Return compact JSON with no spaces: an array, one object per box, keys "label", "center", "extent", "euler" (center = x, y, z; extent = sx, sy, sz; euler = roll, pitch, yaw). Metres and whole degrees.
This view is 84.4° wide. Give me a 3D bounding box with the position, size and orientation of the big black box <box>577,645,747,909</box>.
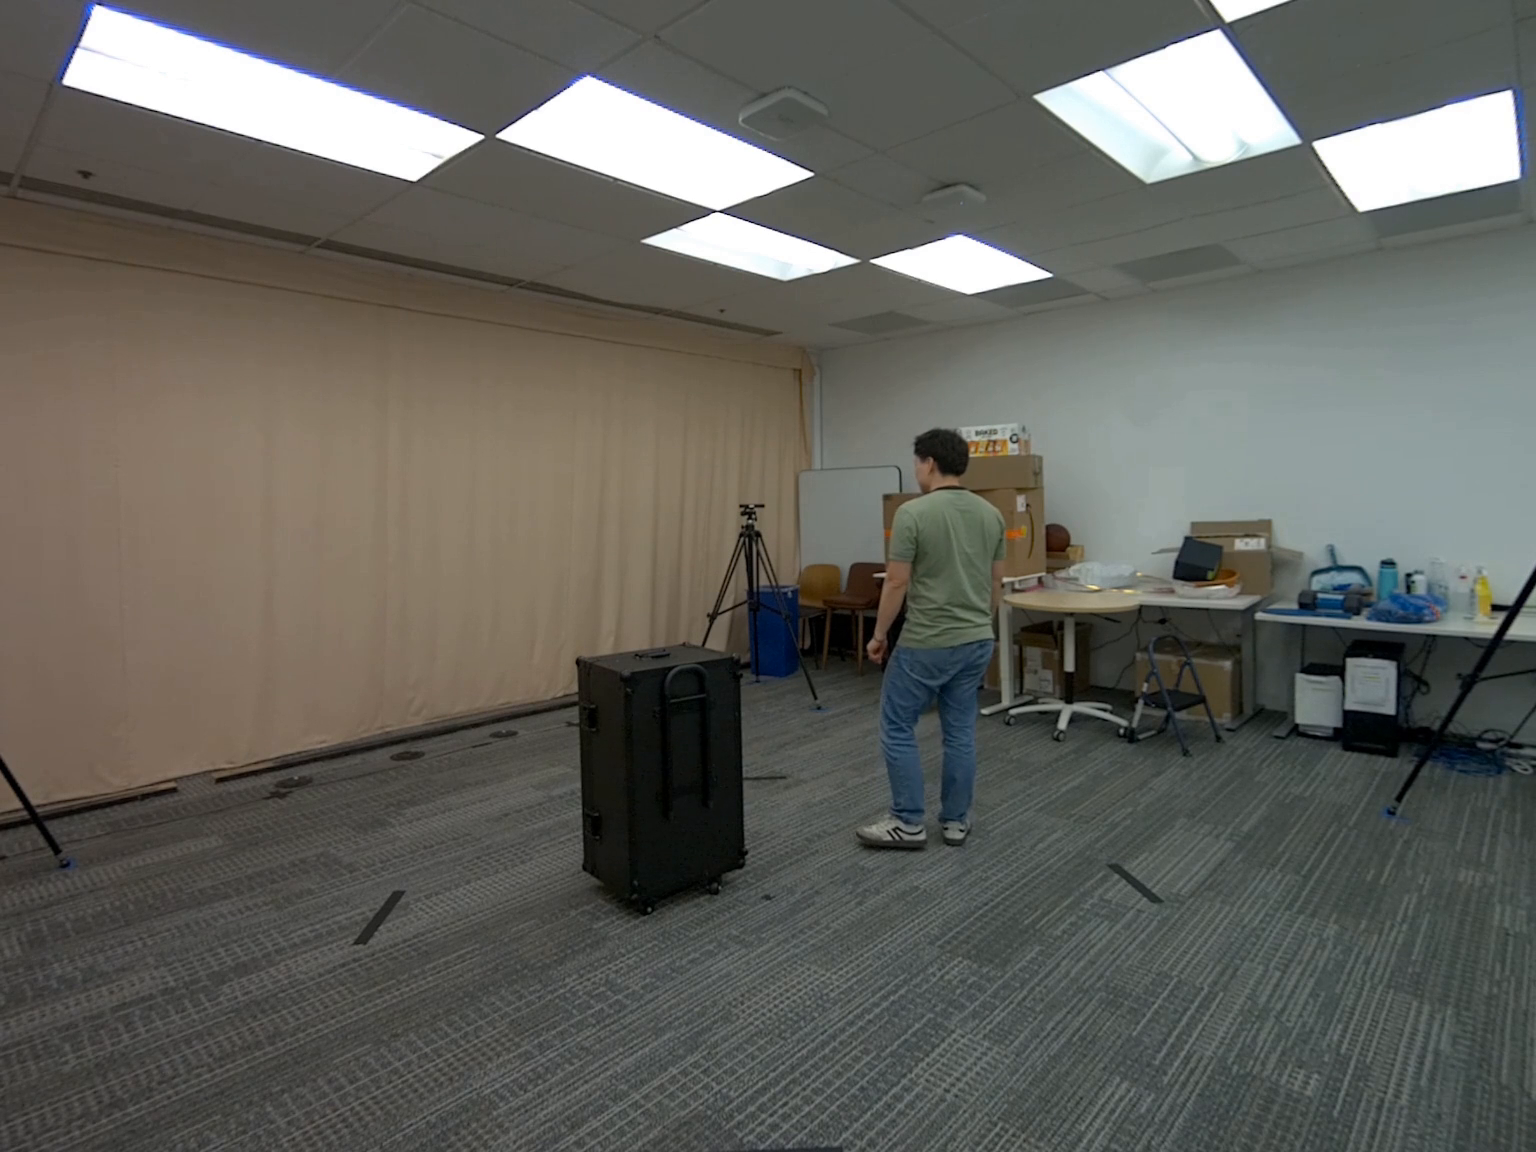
[{"label":"big black box","center":[-0.375,0.716,3.052],"extent":[0.506,0.859,0.409],"euler":[-3,4,-36]}]
